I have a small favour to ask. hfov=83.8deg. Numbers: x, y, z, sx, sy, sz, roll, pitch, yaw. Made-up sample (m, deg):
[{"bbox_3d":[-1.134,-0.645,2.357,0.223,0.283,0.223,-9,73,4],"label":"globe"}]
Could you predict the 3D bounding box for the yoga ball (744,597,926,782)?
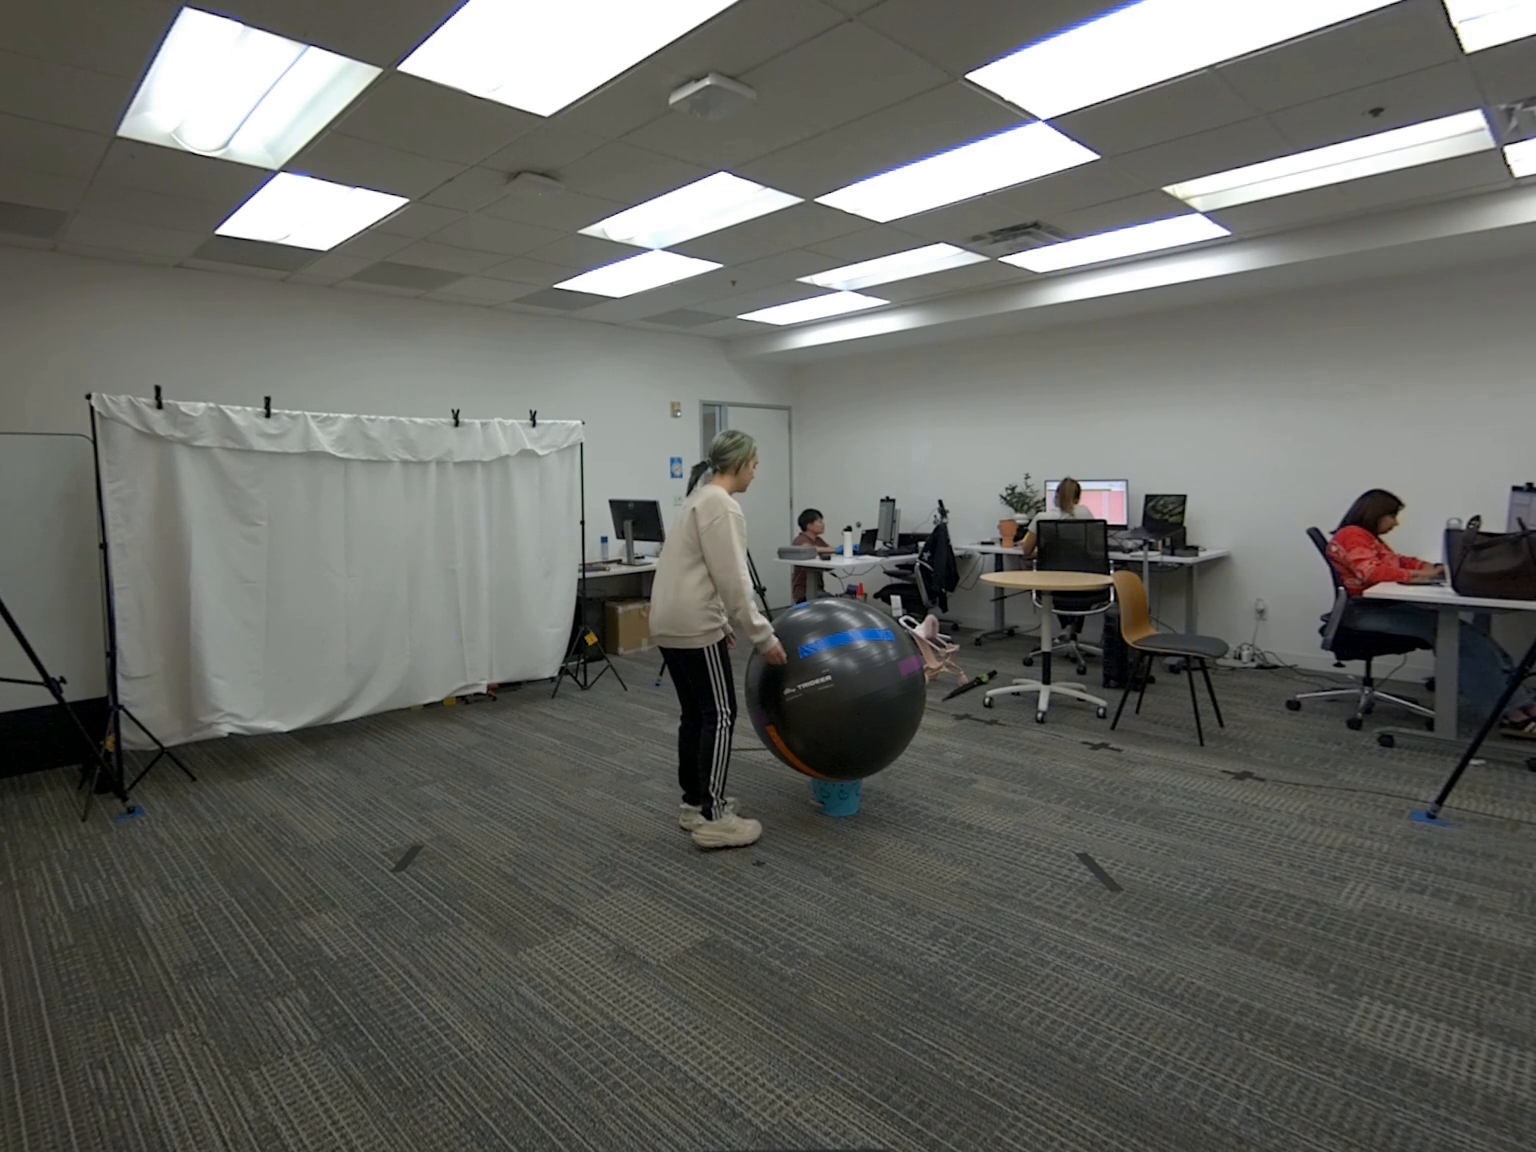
[{"bbox_3d":[0.291,0.477,3.610,0.757,0.755,0.762,-1,5,-2],"label":"yoga ball"}]
